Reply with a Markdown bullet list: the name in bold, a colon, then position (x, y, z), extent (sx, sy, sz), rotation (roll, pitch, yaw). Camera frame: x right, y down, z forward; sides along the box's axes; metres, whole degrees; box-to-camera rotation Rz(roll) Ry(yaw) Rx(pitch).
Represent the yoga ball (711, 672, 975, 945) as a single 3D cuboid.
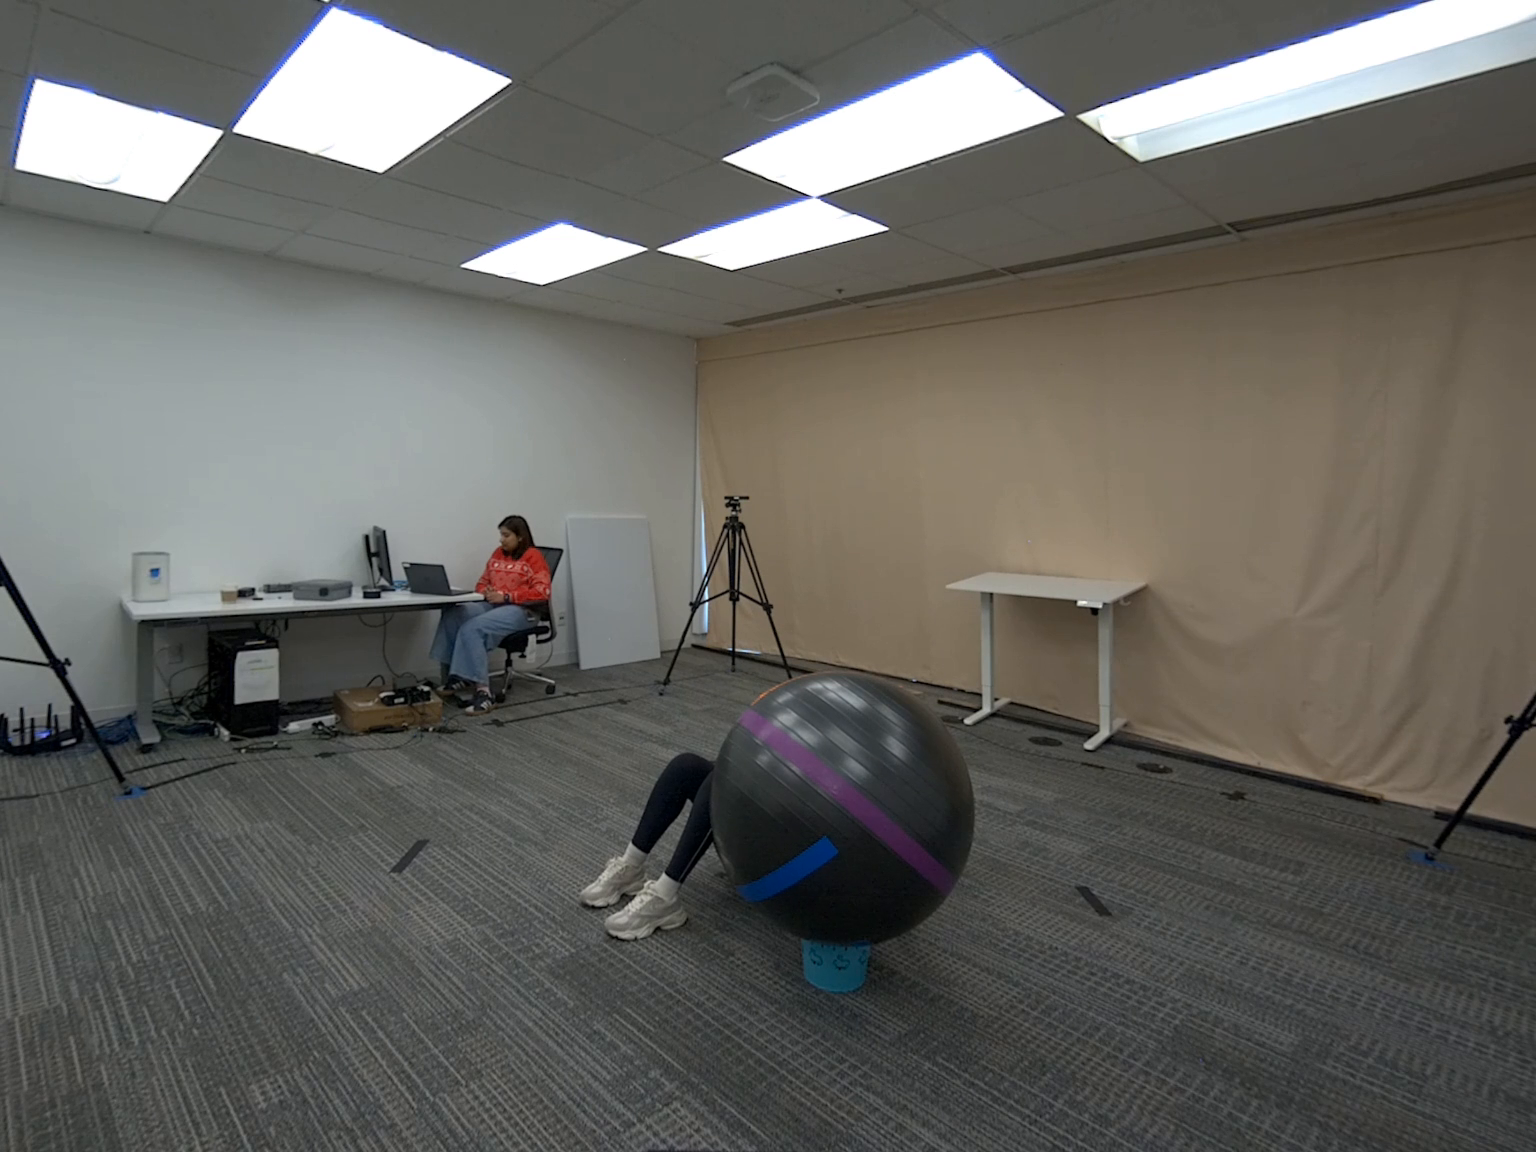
- **yoga ball**: position (0.215, 0.669, 2.443), extent (0.757, 0.754, 0.762), rotation (0, 7, -1)
